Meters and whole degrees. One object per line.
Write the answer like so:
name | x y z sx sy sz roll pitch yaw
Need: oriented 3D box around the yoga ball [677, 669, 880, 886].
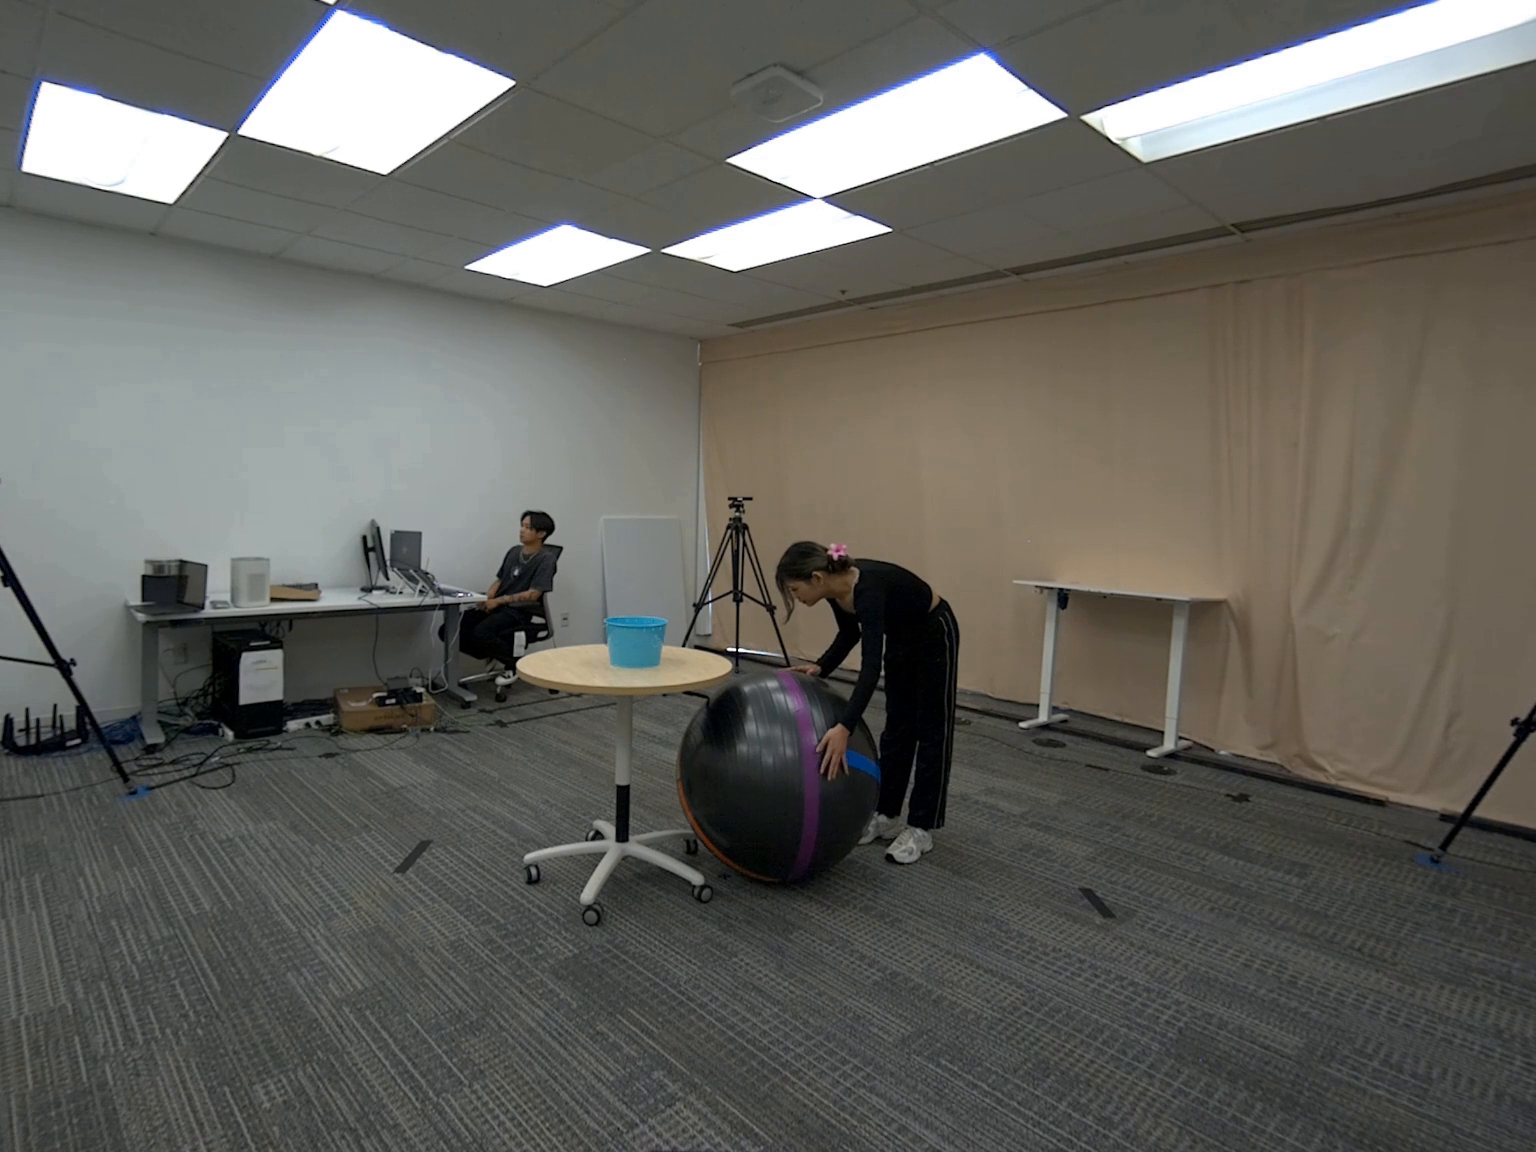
yoga ball | 0.045 0.741 3.147 0.757 0.756 0.761 1 4 -1
